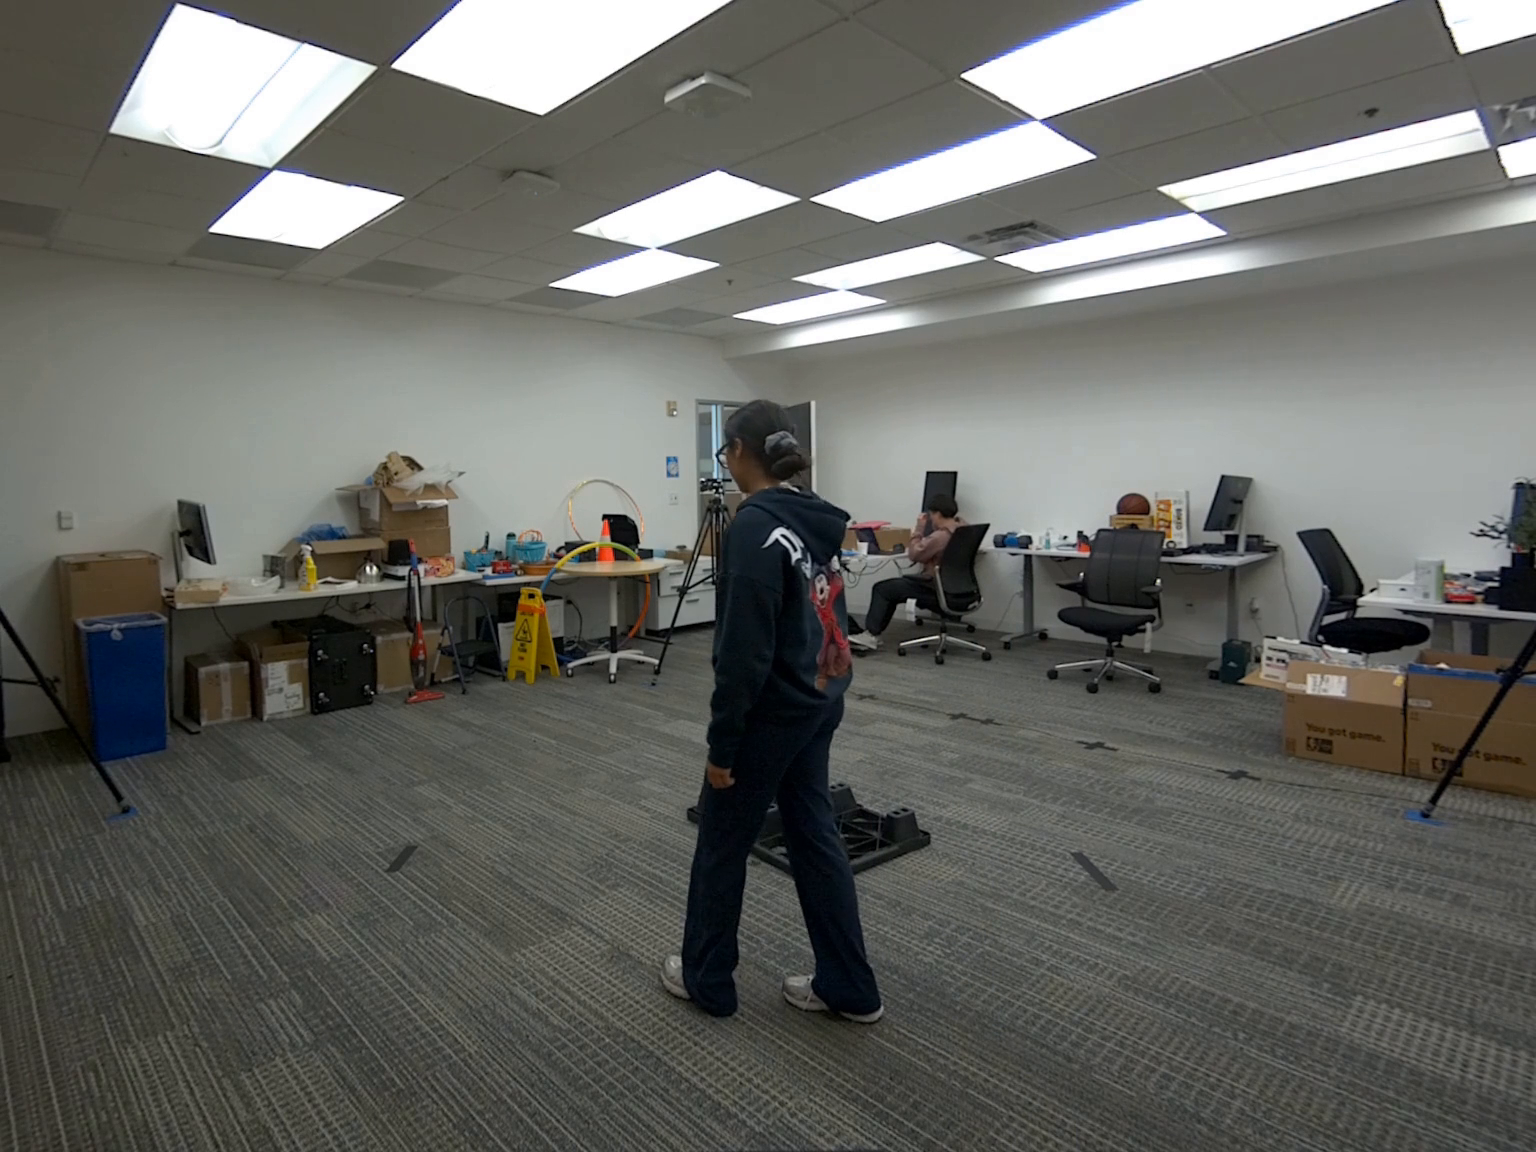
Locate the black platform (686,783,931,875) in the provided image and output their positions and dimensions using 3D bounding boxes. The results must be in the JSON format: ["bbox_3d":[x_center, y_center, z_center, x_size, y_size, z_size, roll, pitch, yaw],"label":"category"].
[{"bbox_3d":[0.137,0.938,3.379,0.589,0.143,0.830,-5,7,-38],"label":"black platform"}]
